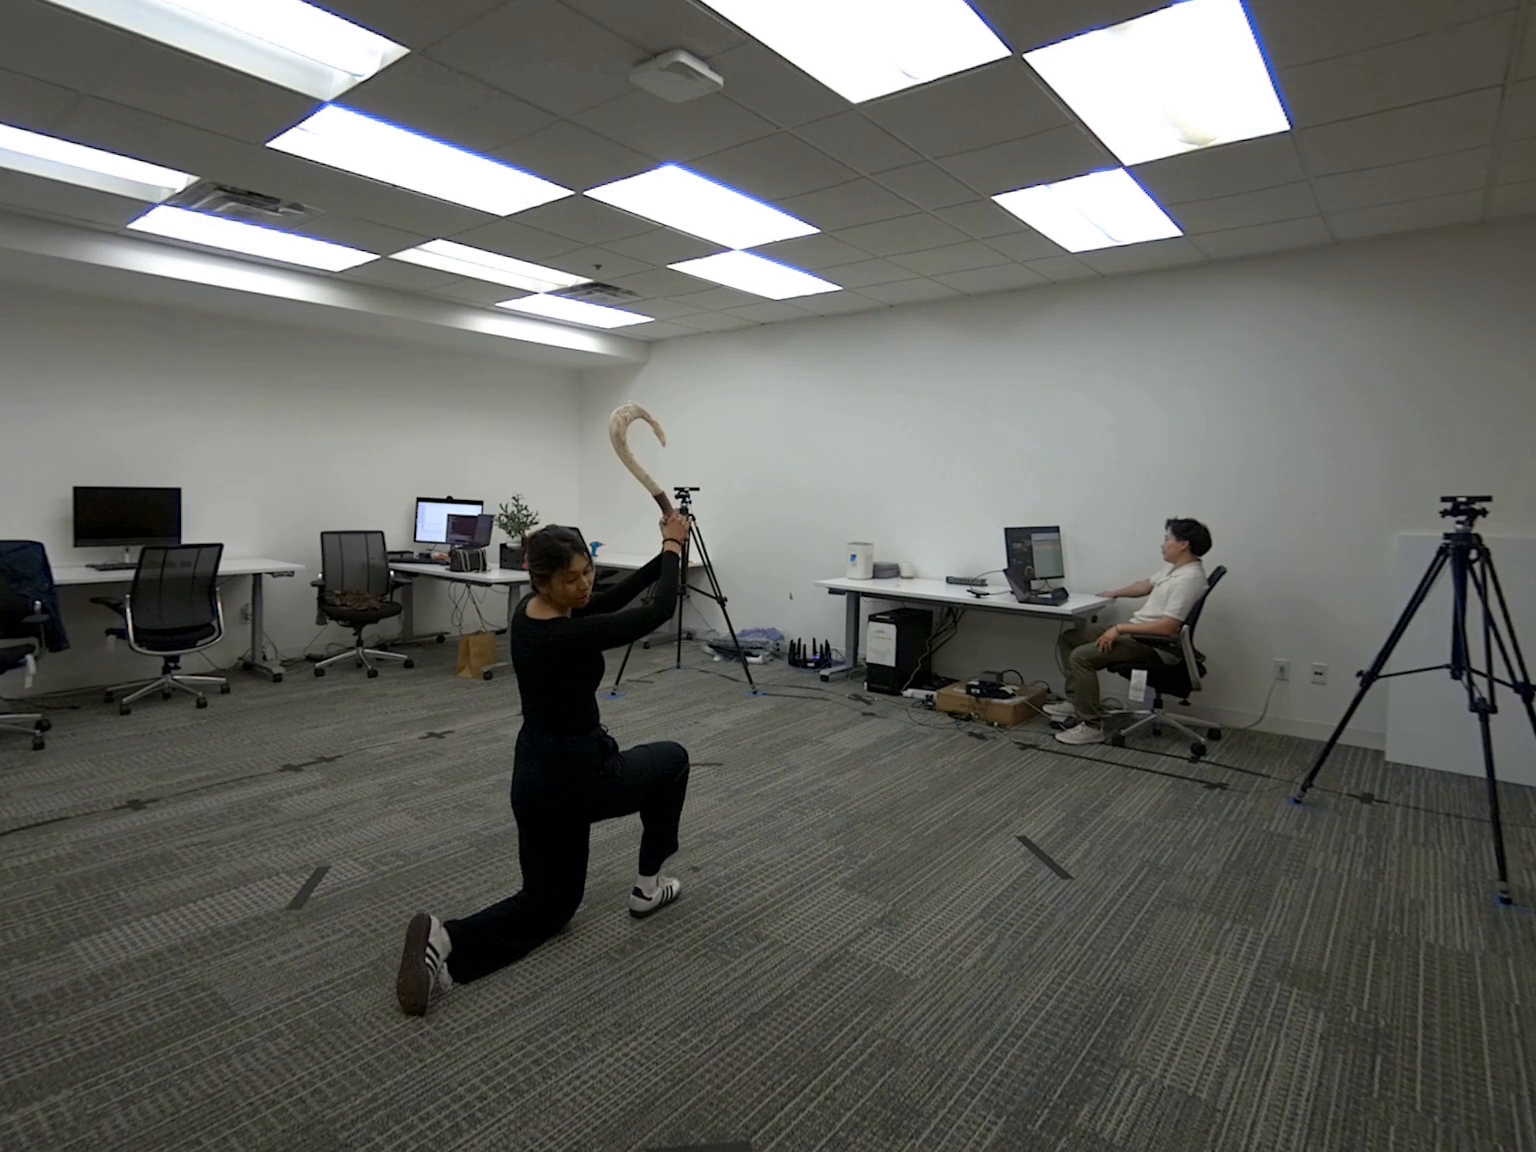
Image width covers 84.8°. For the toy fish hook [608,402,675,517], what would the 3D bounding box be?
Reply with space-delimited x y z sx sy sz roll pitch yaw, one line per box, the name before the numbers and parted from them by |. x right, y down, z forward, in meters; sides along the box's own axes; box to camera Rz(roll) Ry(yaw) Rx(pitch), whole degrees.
toy fish hook | -0.377 -0.347 2.880 0.050 0.496 0.223 -7 24 46
